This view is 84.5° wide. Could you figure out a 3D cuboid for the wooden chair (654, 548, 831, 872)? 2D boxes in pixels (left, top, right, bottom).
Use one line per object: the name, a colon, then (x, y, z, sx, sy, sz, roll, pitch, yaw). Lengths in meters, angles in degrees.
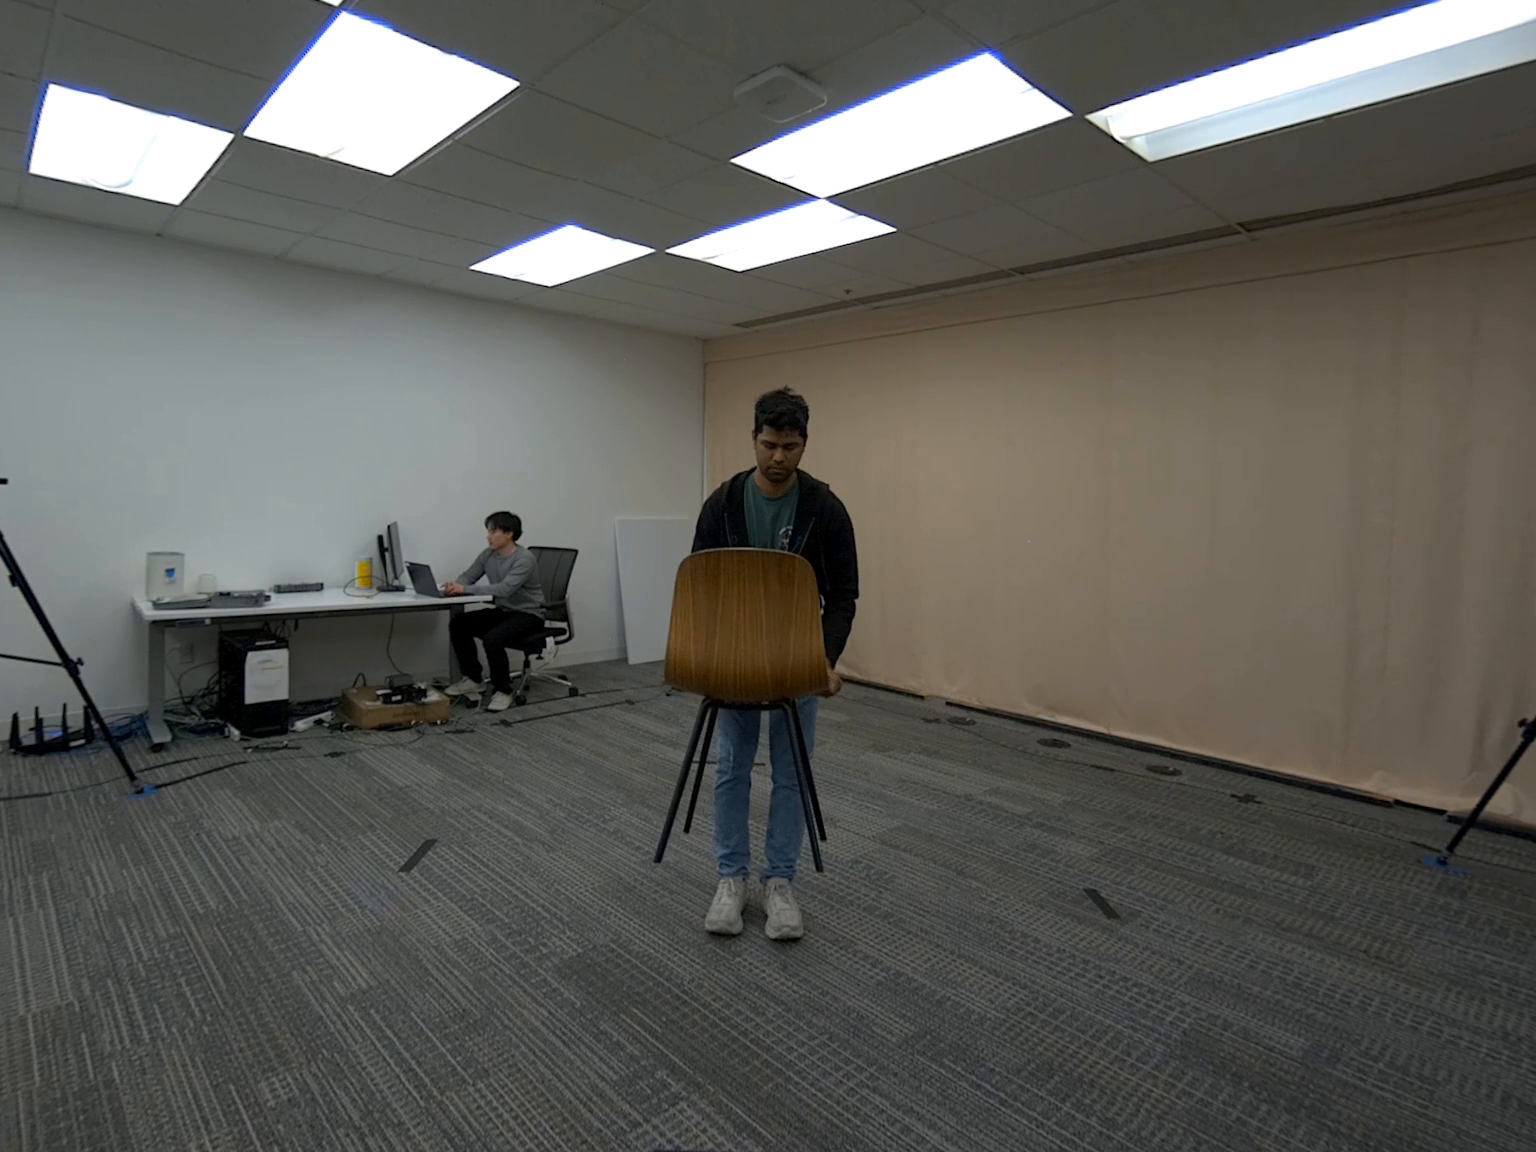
wooden chair: (-0.065, 0.386, 2.498, 0.481, 0.881, 0.518, 0, -5, 6)
